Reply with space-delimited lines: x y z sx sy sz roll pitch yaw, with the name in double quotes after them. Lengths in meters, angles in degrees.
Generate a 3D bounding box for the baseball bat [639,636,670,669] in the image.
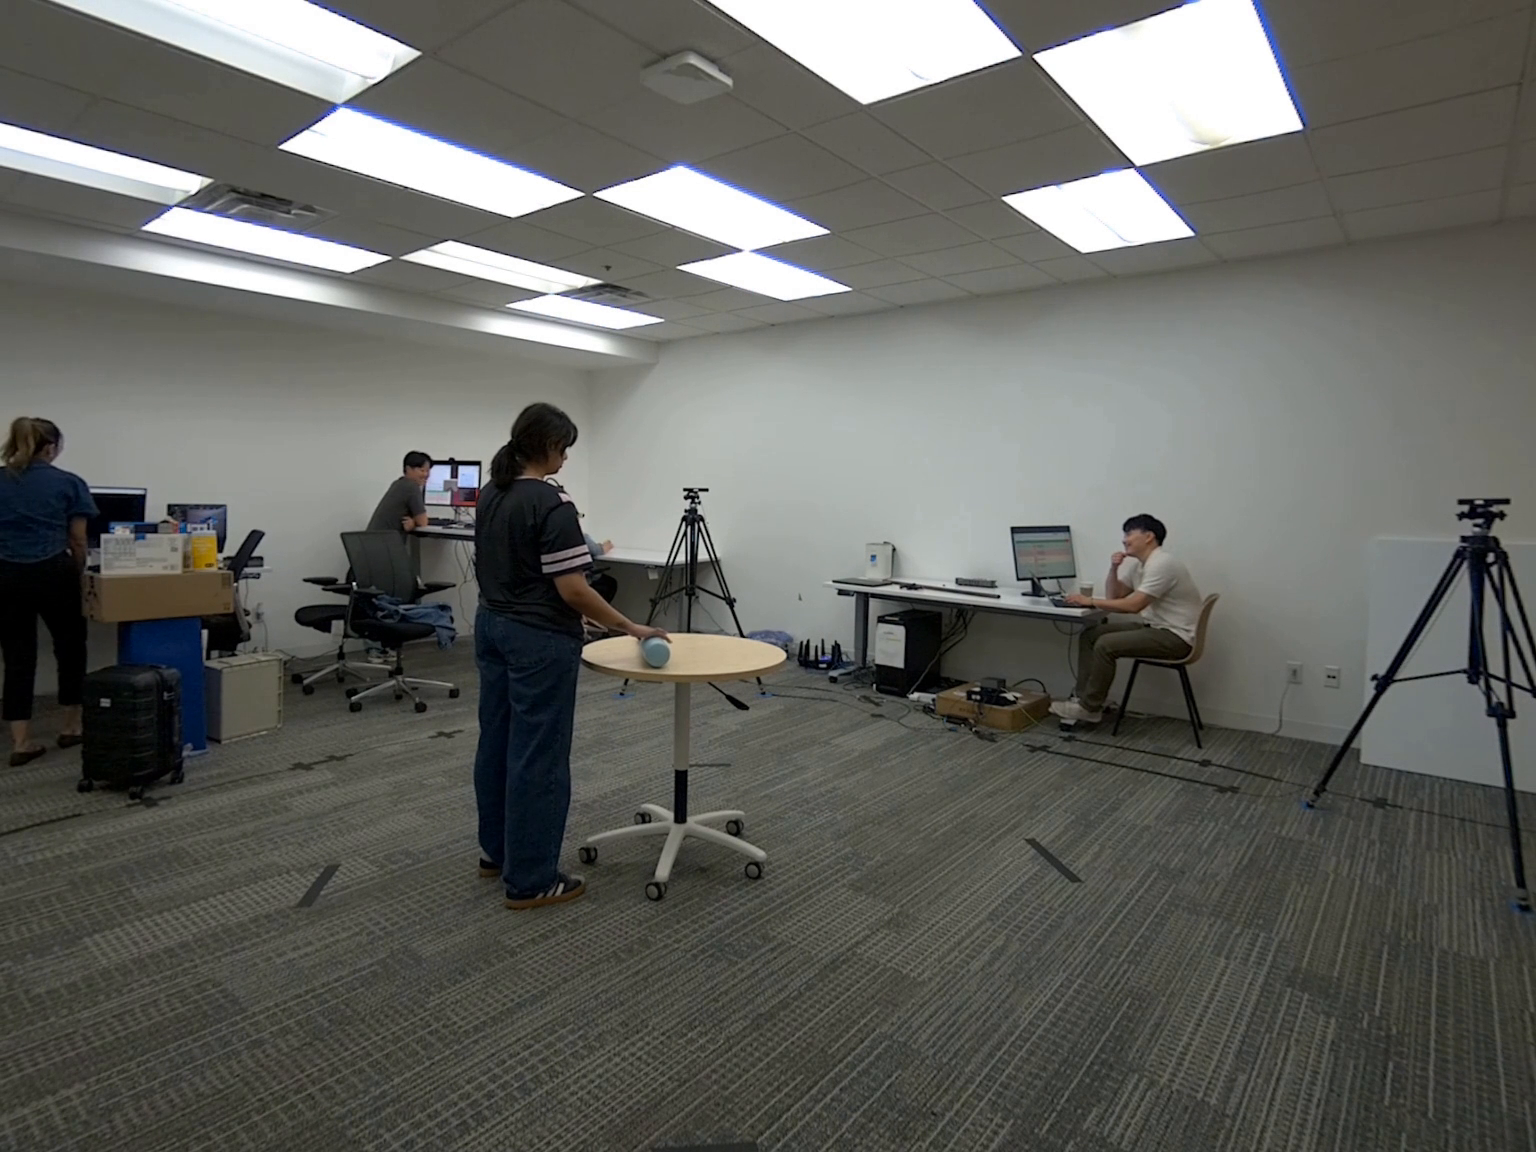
-0.445 0.247 3.106 0.088 0.089 0.551 0 4 -14 "baseball bat"
